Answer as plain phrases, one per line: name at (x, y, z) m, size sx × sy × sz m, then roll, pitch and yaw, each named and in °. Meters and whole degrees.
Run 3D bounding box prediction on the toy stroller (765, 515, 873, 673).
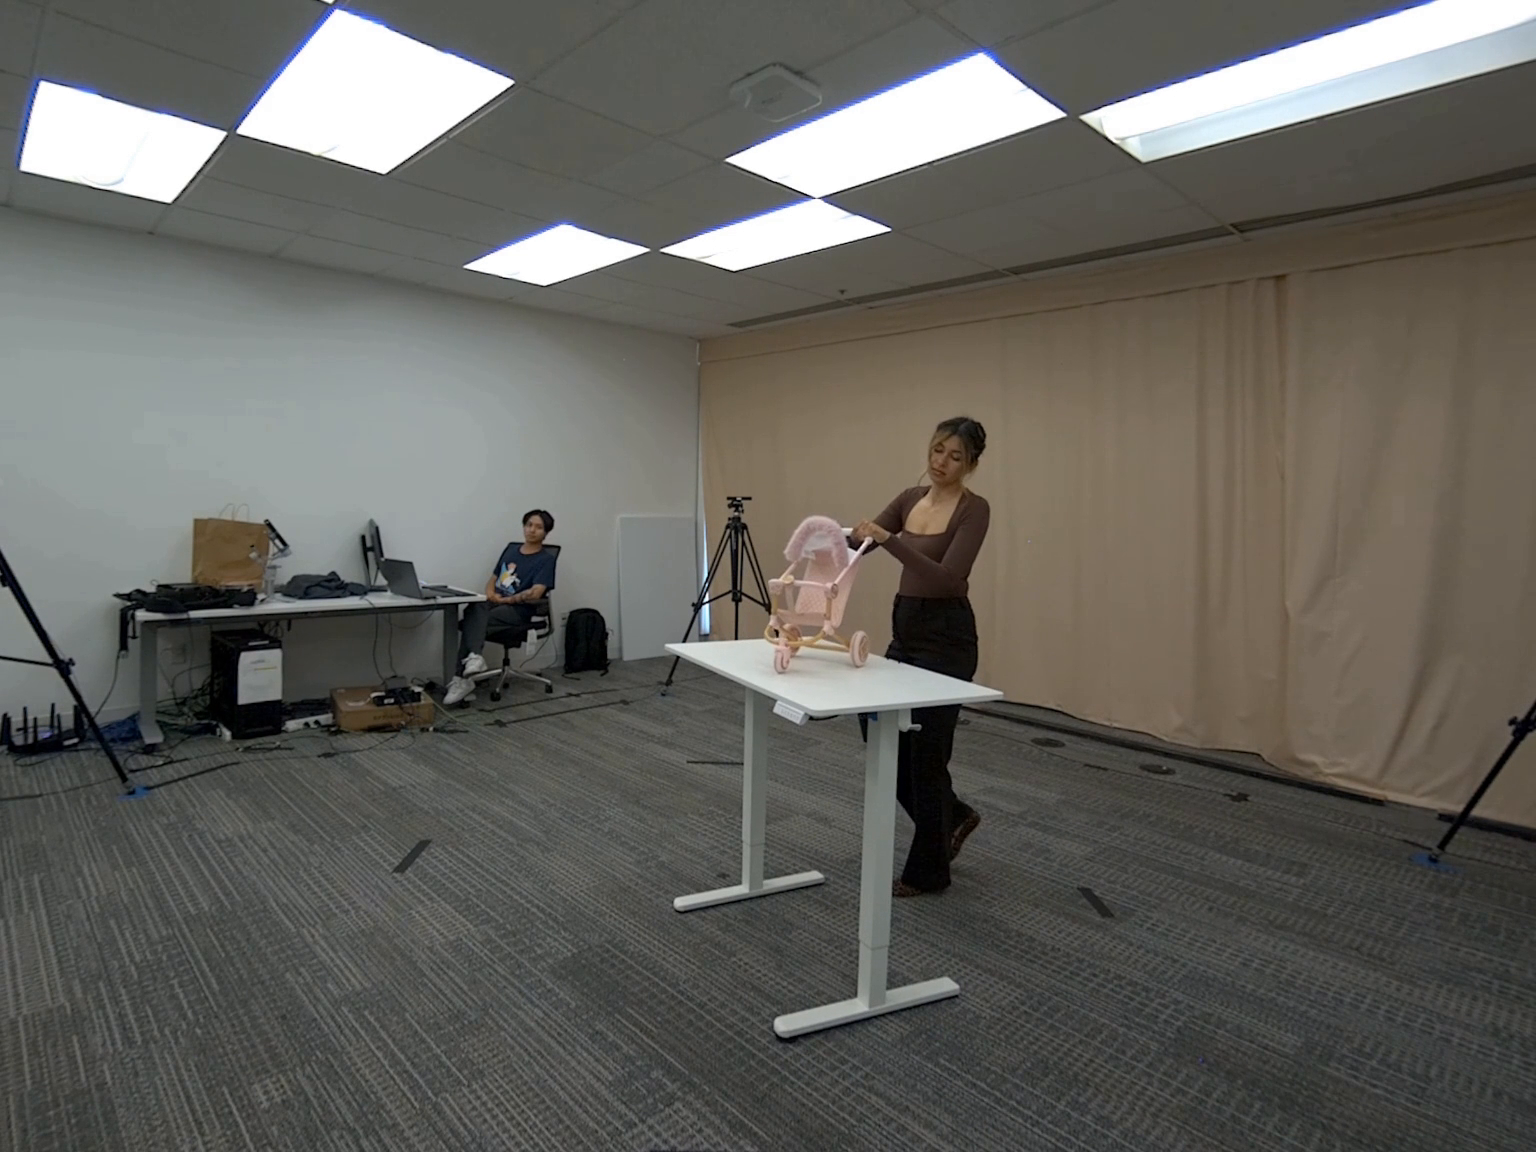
toy stroller at (0.142, 0.055, 2.613) m, size 0.288 × 0.538 × 0.331 m, roll 2°, pitch -14°, yaw 37°
